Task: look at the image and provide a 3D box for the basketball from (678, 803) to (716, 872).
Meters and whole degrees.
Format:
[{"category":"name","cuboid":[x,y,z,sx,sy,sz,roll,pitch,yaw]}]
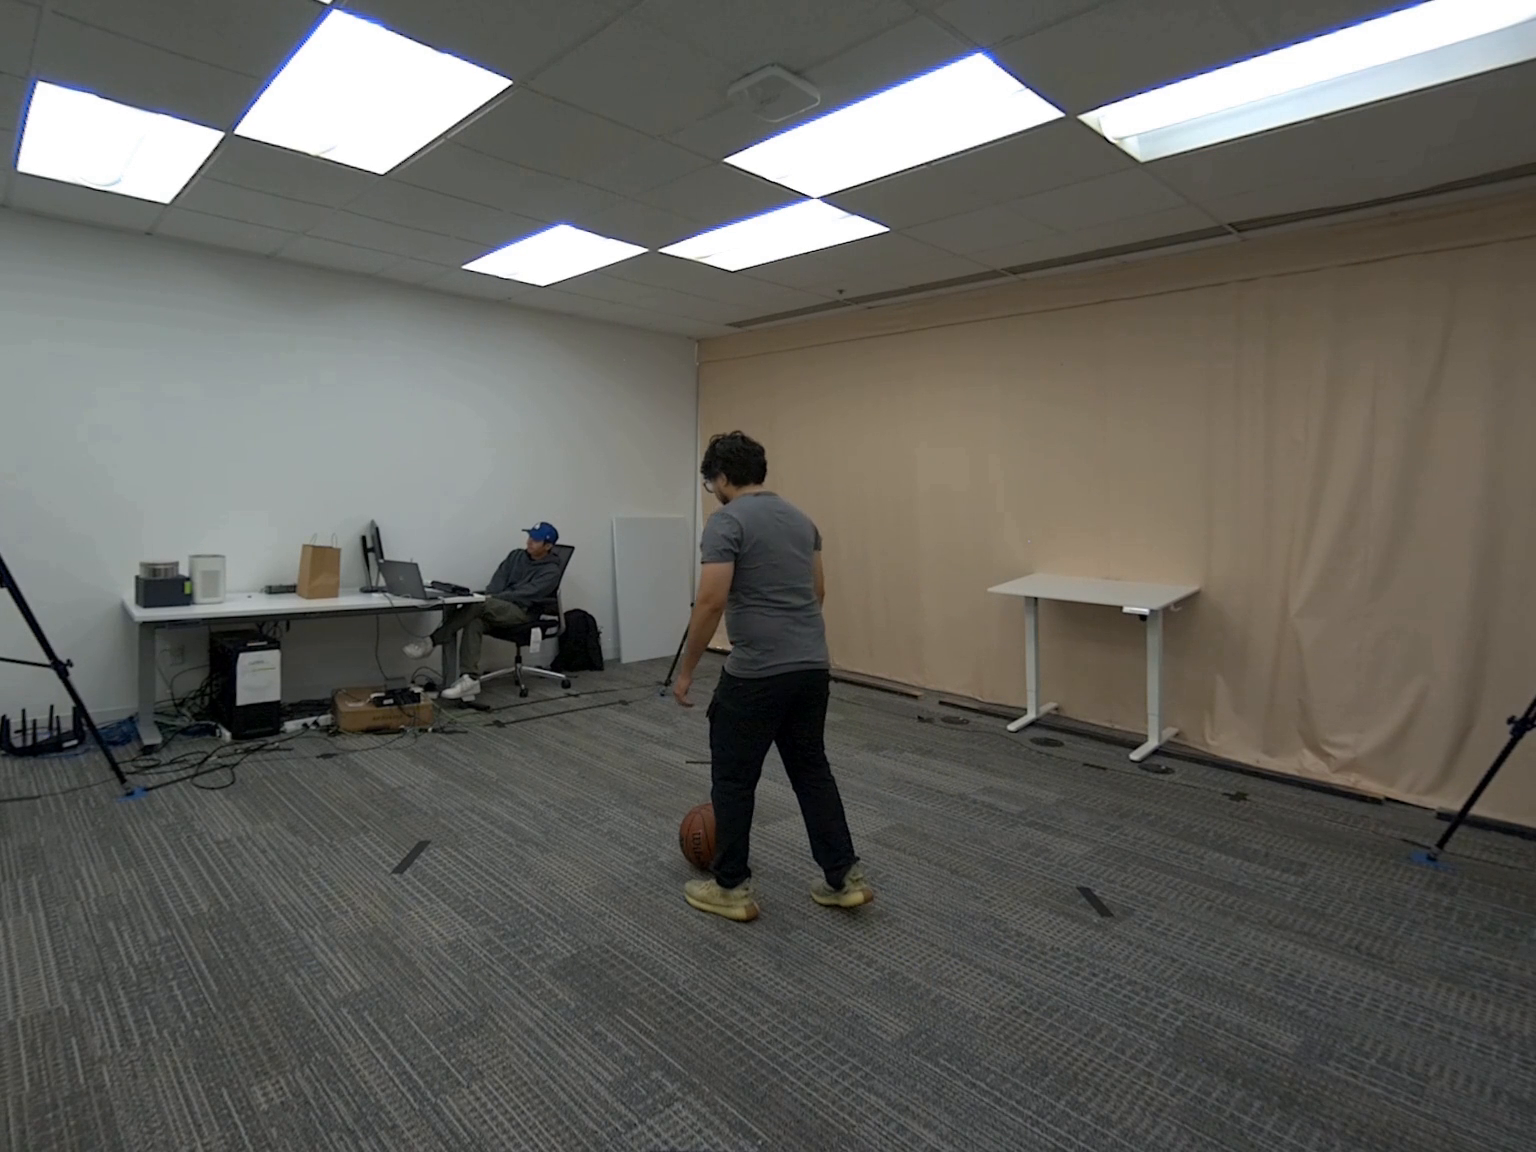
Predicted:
[{"category":"basketball","cuboid":[-0.218,0.975,3.162,0.236,0.235,0.237,1,4,-1]}]
